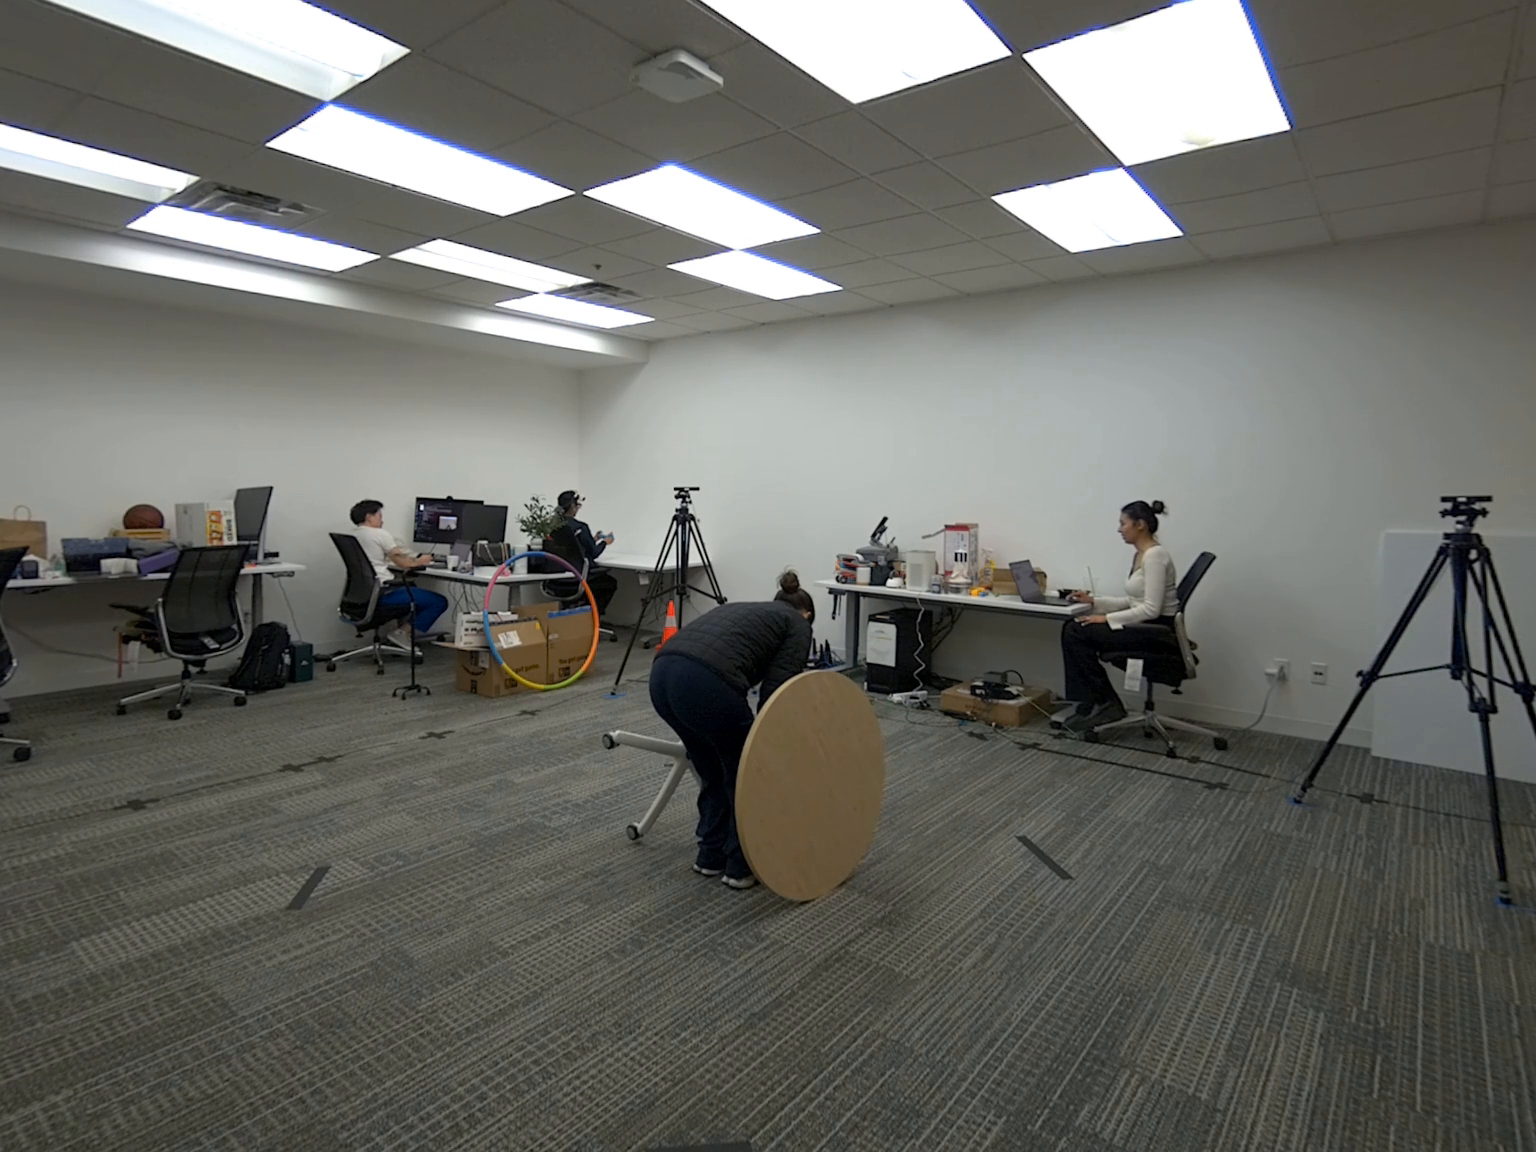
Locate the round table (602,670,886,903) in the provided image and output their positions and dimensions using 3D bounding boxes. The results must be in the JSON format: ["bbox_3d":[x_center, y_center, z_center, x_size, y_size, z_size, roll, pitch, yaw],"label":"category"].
[{"bbox_3d":[-0.108,0.712,3.210,0.811,0.785,0.761,-2,1,44],"label":"round table"}]
